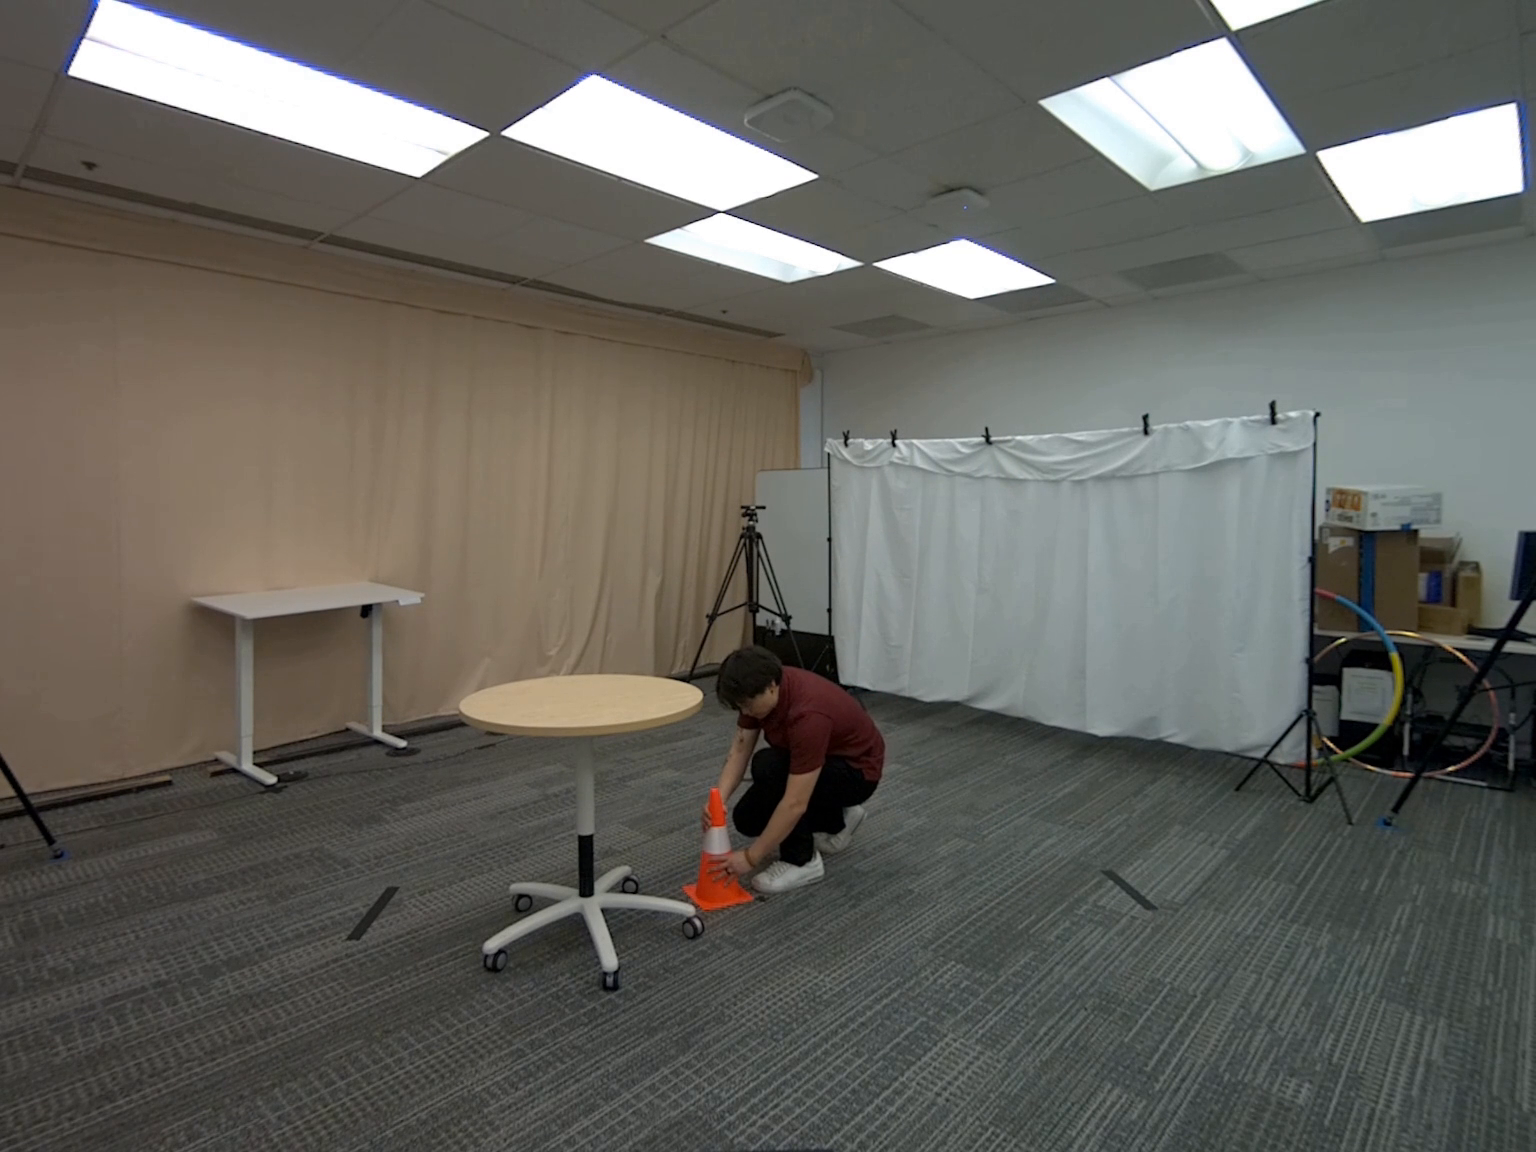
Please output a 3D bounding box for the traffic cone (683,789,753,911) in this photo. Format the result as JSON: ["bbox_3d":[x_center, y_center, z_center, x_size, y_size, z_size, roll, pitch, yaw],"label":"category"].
[{"bbox_3d":[-0.176,0.962,3.027,0.200,0.383,0.209,-1,2,-18],"label":"traffic cone"}]
